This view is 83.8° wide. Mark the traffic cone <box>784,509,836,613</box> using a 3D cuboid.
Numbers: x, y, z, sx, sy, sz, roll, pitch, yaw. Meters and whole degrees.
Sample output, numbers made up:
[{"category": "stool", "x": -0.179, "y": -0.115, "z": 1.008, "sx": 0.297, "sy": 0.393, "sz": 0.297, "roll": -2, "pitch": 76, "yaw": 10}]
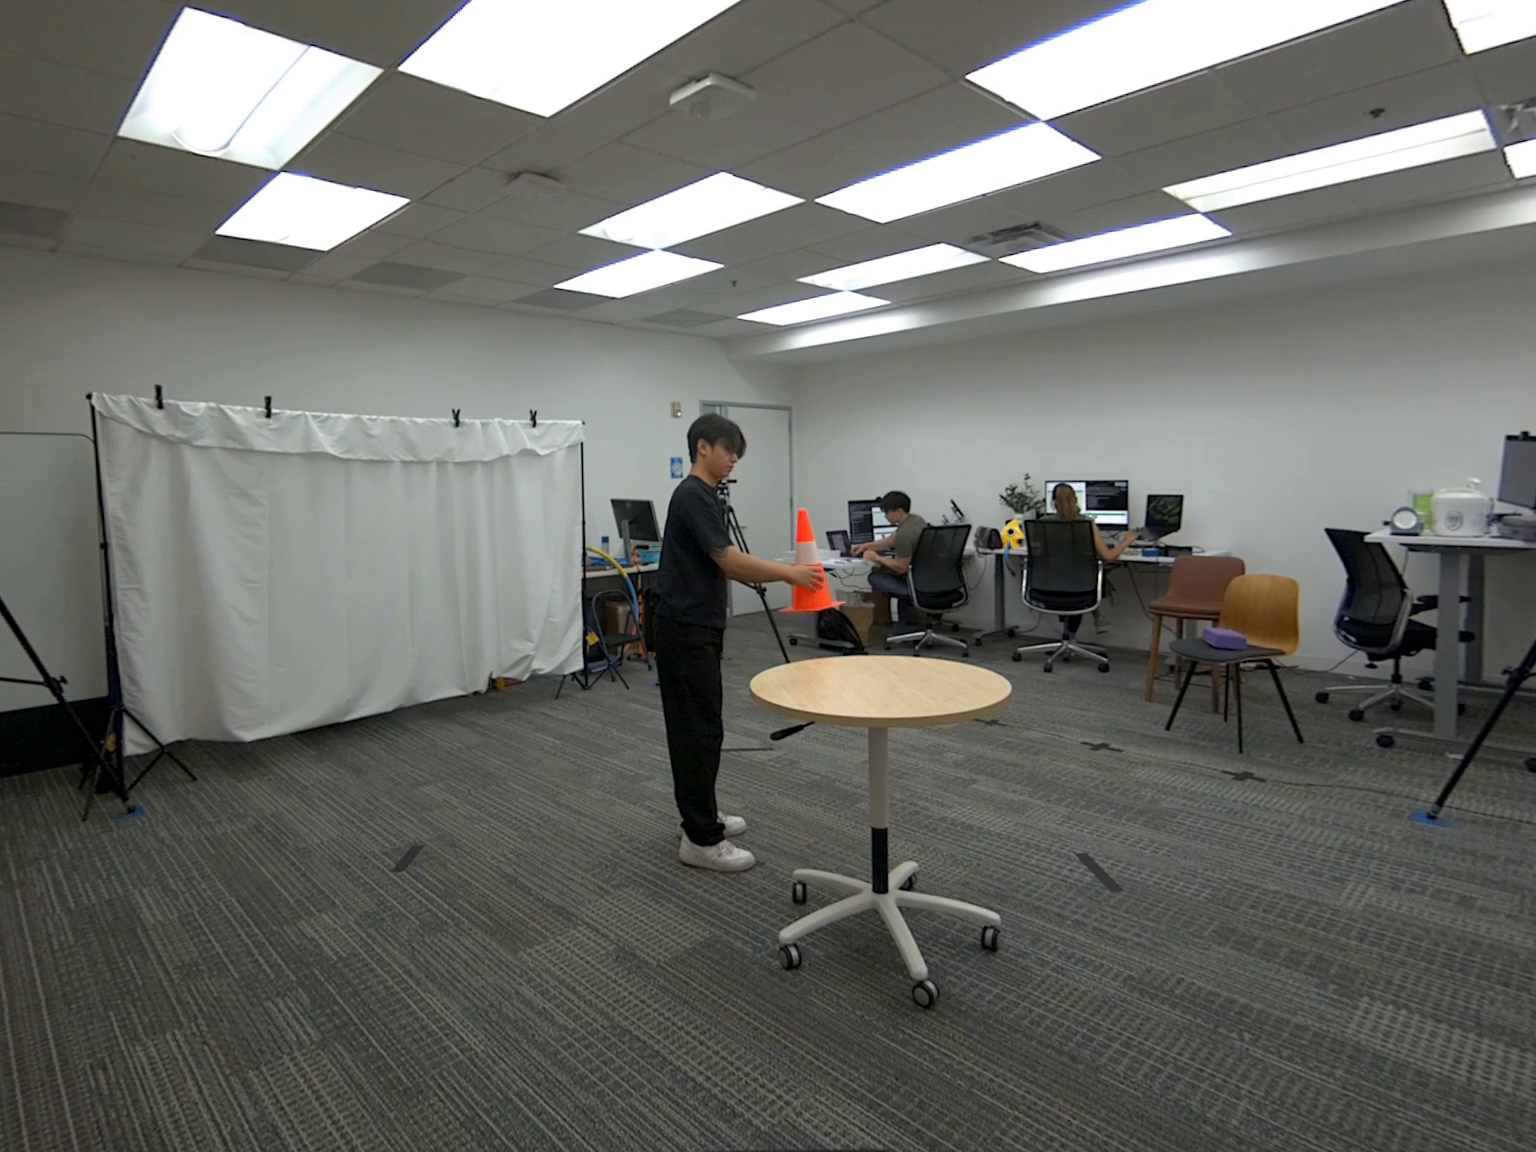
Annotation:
[{"category": "traffic cone", "x": 0.153, "y": -0.068, "z": 3.303, "sx": 0.210, "sy": 0.381, "sz": 0.199, "roll": -2, "pitch": 8, "yaw": 34}]
